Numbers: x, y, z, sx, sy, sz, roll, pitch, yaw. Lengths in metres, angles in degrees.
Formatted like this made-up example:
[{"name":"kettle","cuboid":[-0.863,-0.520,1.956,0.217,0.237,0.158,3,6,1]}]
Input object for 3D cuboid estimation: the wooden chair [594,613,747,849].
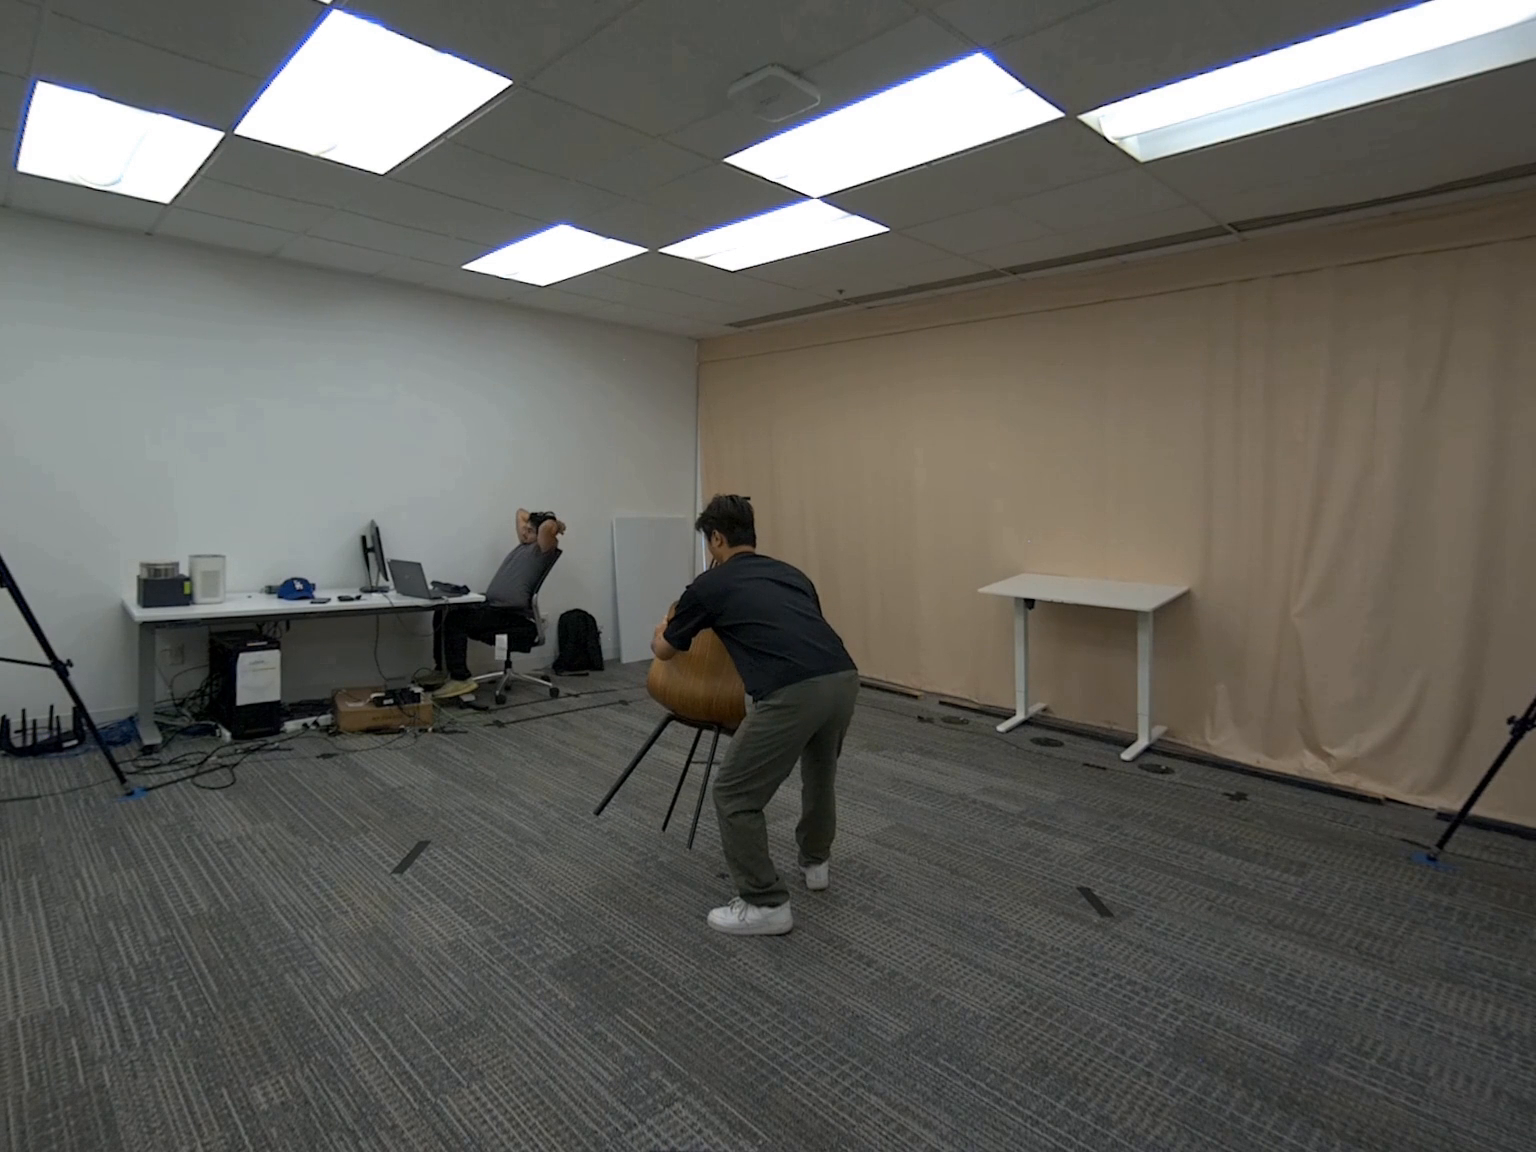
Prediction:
[{"name":"wooden chair","cuboid":[-0.227,0.582,3.227,0.489,0.883,0.507,5,-16,34]}]
